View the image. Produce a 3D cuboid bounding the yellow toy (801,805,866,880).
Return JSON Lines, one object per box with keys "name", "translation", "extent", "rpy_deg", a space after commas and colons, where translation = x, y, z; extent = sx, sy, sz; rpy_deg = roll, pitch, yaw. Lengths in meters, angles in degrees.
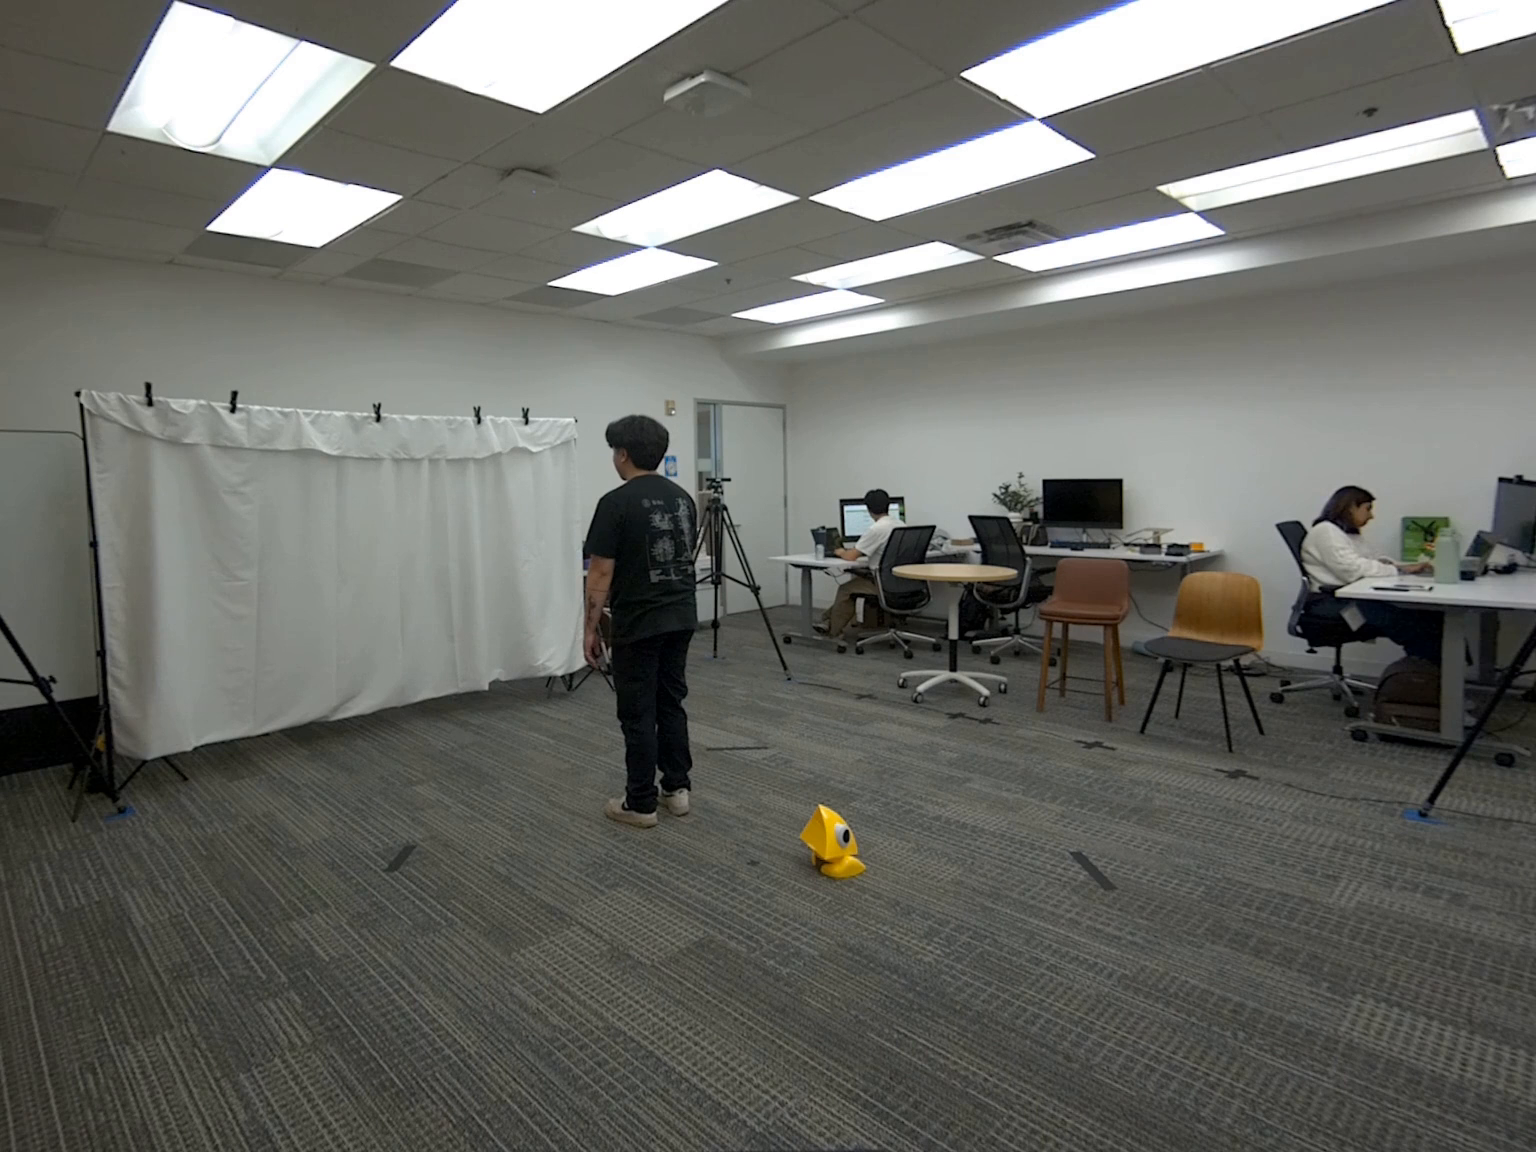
{"name": "yellow toy", "translation": [0.243, 0.928, 3.070], "extent": [0.189, 0.230, 0.209], "rpy_deg": [-3, 5, -23]}
